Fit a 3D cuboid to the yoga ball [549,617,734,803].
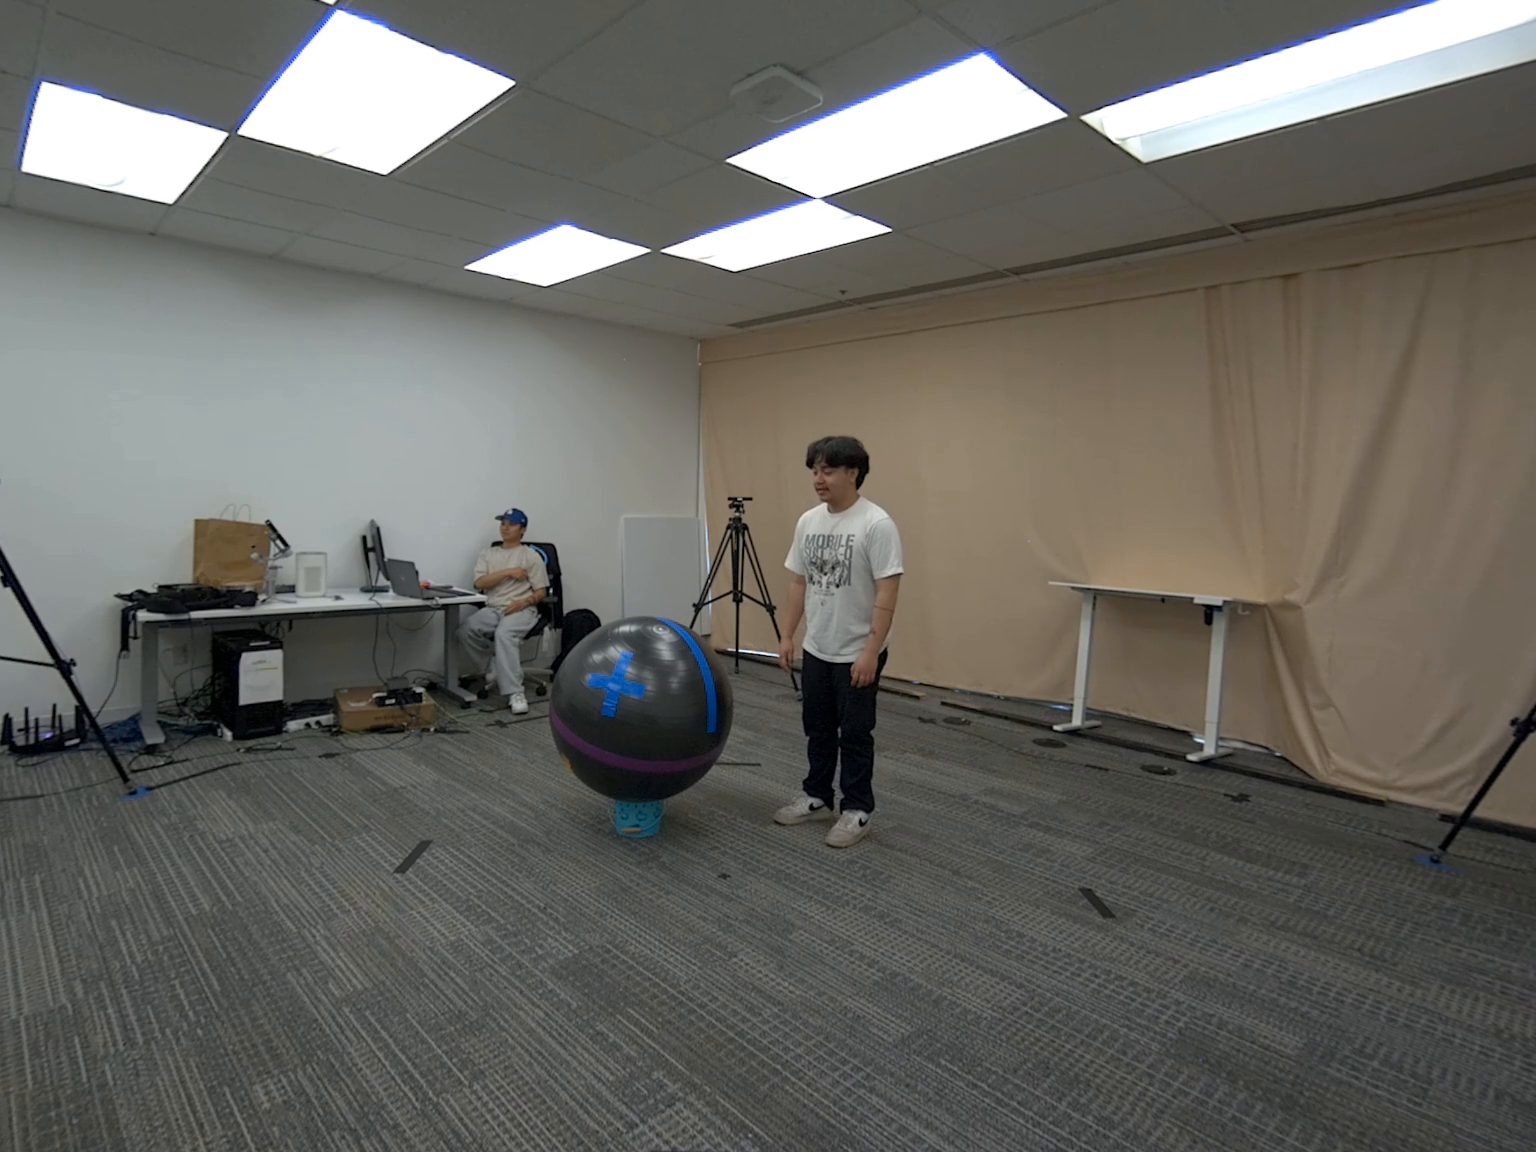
[{"bbox_3d":[-0.530,0.548,3.510,0.757,0.756,0.761,1,4,-1],"label":"yoga ball"}]
